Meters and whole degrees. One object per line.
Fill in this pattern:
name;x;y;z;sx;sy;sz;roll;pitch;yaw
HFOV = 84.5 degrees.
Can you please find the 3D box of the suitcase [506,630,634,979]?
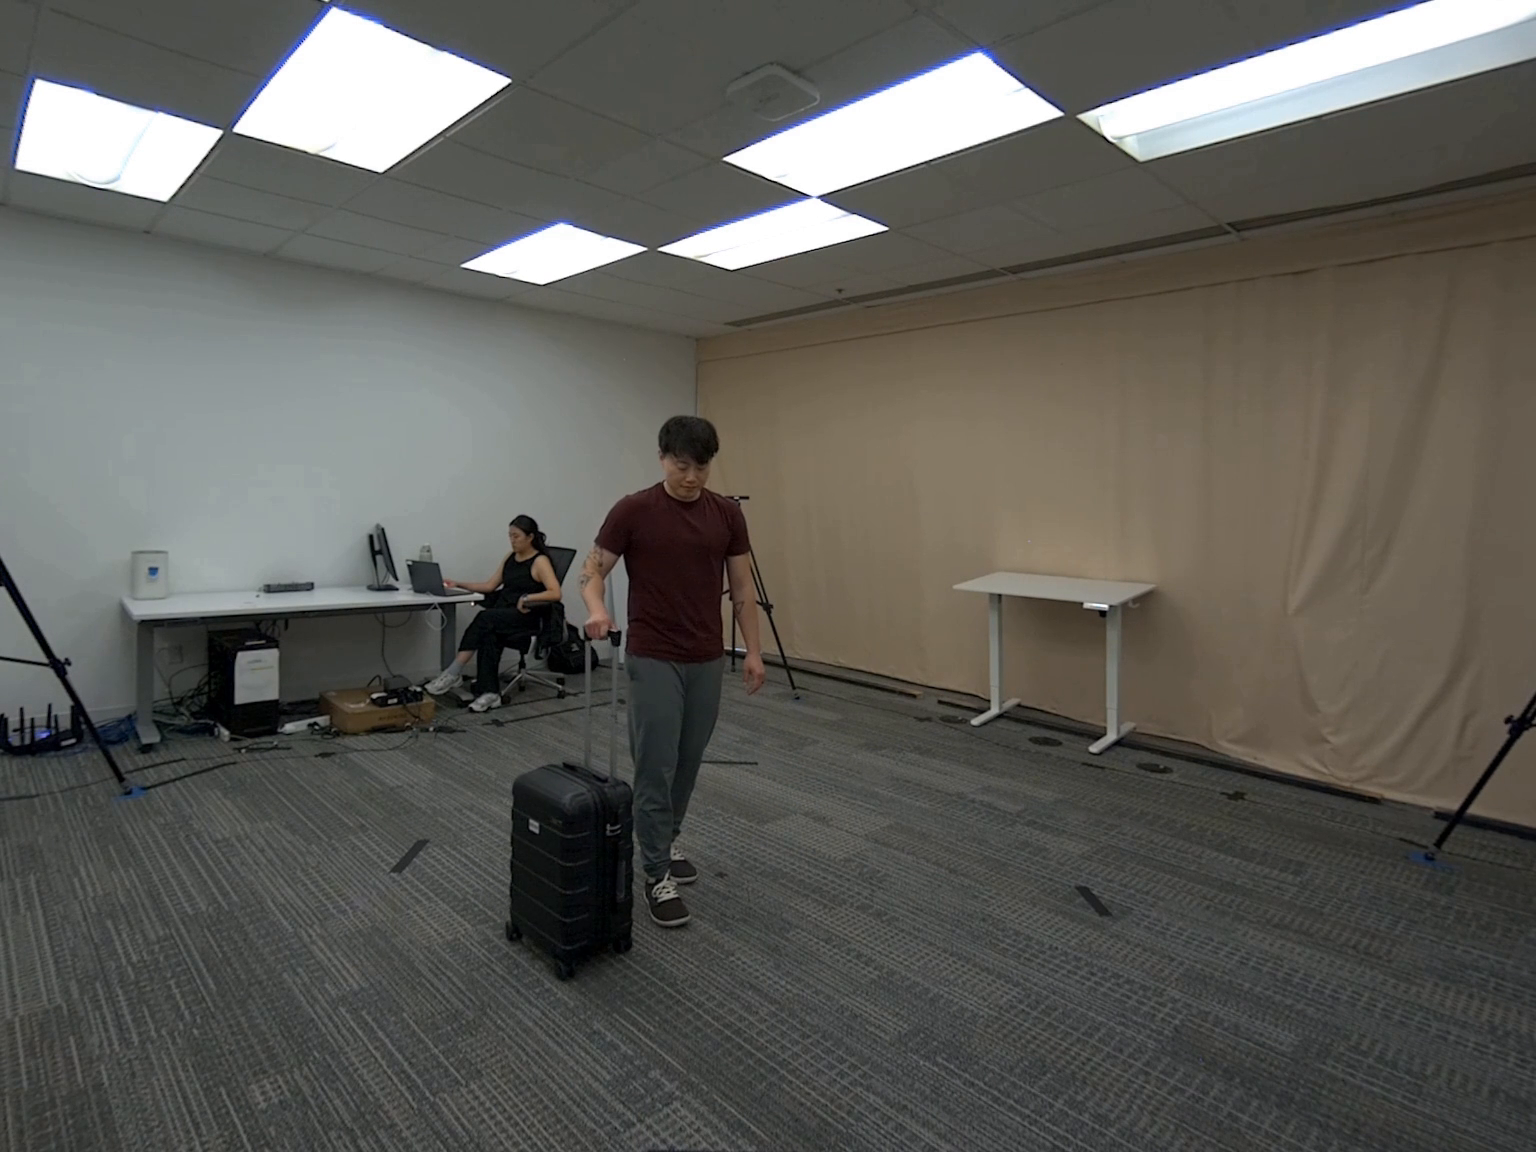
suitcase;-0.610;0.672;2.540;0.394;0.974;0.251;6;8;44
